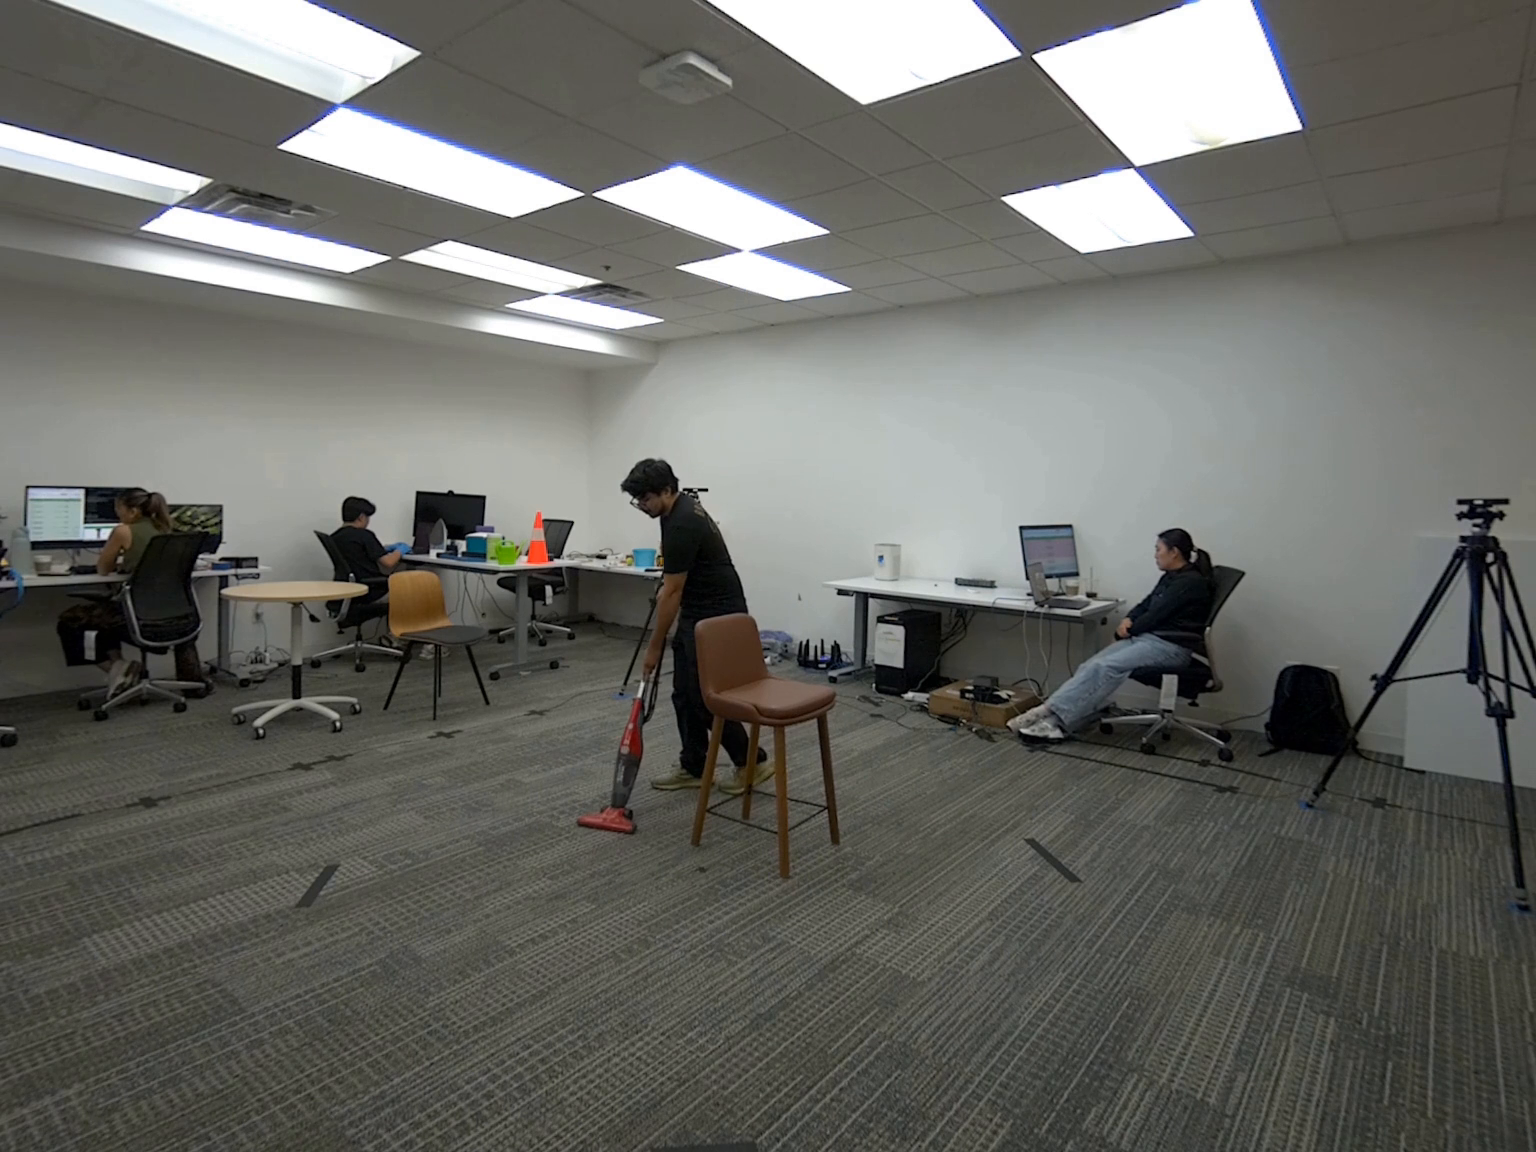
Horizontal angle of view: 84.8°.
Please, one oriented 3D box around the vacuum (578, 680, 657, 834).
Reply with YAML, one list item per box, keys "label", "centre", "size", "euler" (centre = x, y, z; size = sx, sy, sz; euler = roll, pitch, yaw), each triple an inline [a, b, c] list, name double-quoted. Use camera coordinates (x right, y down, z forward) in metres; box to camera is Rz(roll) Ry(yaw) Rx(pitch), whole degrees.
- label: "vacuum"
  centre: [-0.573, 0.558, 3.758]
  size: [0.257, 1.069, 0.138]
  euler: [0, -29, 18]
